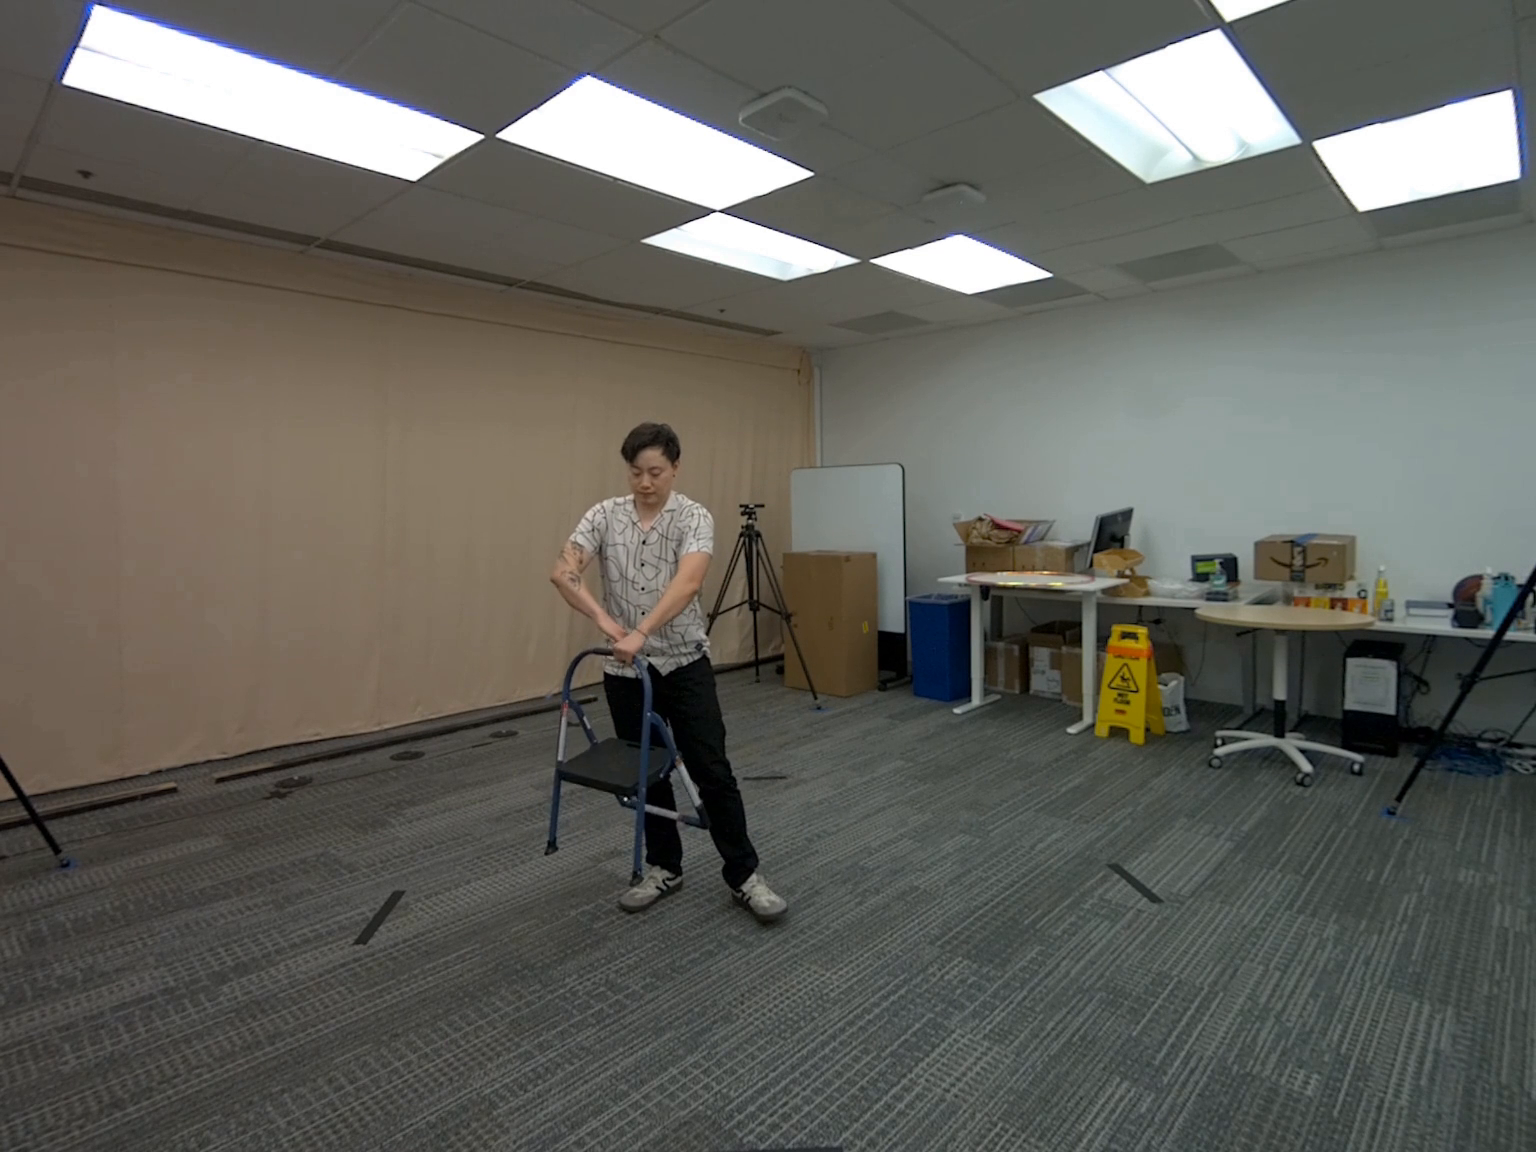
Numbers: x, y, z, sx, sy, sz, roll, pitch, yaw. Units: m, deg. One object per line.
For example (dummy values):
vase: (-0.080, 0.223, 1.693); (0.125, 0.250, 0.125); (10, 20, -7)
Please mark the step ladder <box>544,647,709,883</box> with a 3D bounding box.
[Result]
step ladder: (-0.476, 0.543, 2.595); (0.444, 0.601, 0.341); (-1, 13, 40)
